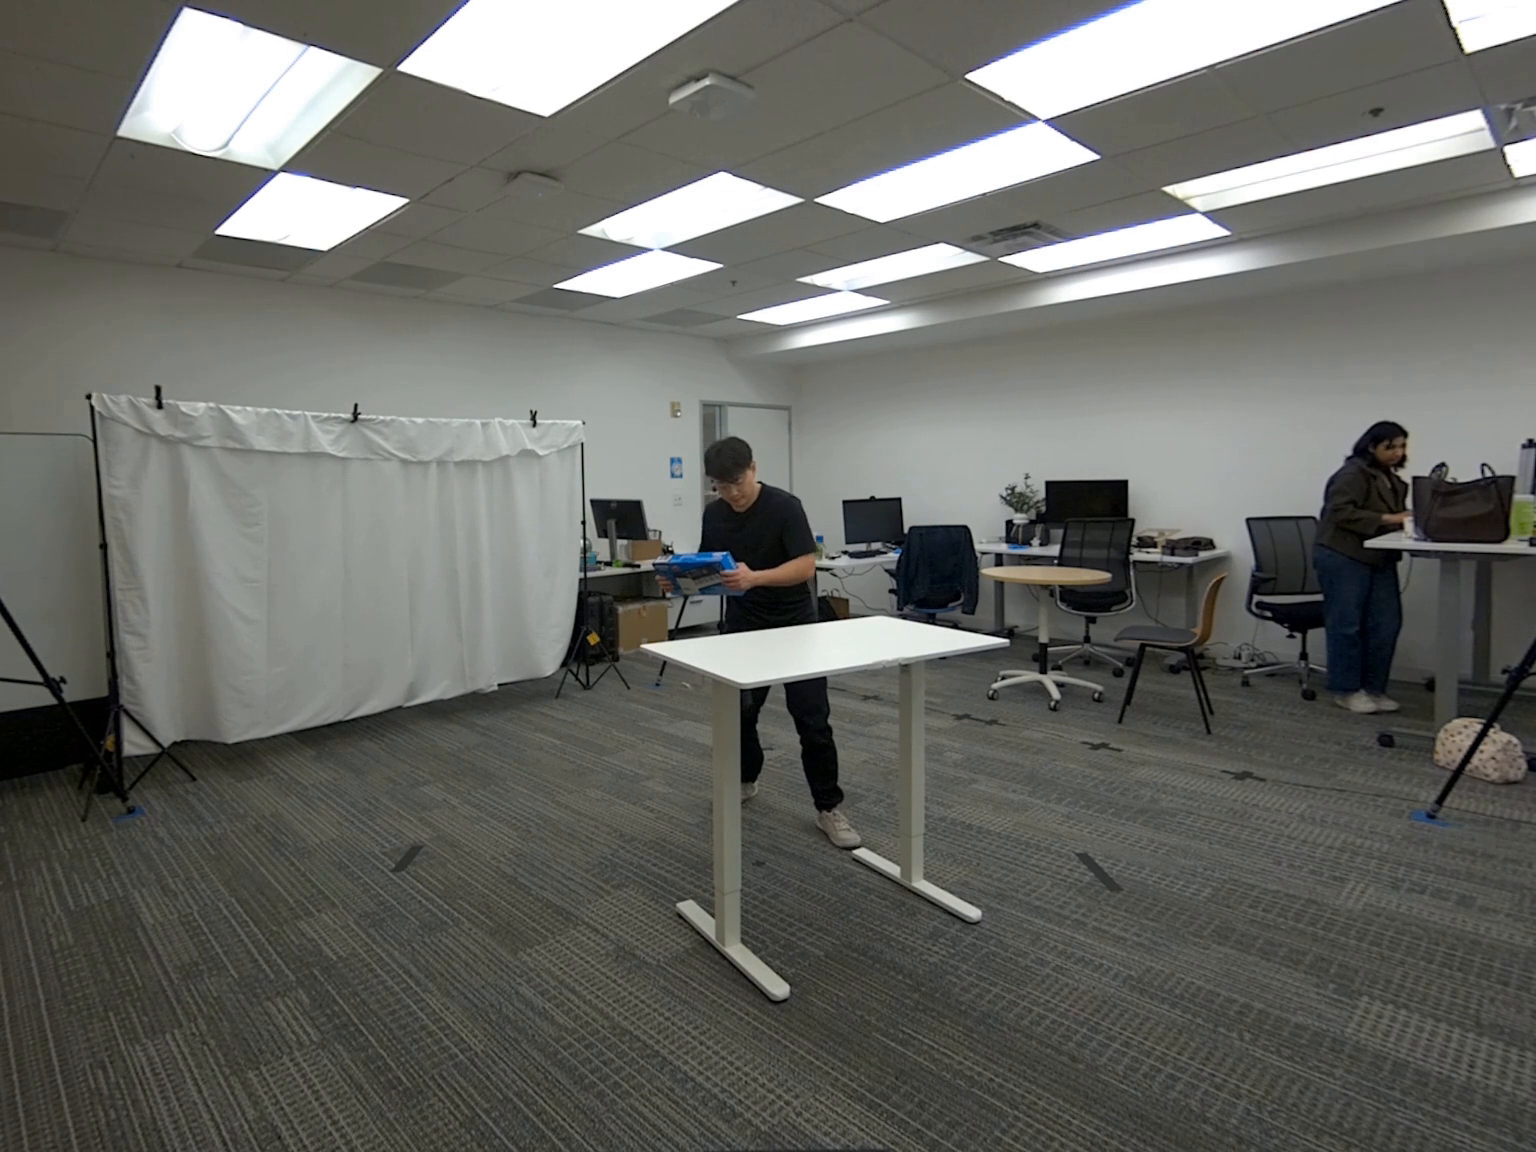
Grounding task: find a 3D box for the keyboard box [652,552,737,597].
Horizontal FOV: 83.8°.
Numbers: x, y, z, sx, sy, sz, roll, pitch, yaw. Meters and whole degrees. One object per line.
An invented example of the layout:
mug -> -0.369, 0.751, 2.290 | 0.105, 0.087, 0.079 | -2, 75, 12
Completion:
keyboard box -> -0.276, 0.002, 3.407 | 0.449, 0.171, 0.059 | -2, 37, 47
